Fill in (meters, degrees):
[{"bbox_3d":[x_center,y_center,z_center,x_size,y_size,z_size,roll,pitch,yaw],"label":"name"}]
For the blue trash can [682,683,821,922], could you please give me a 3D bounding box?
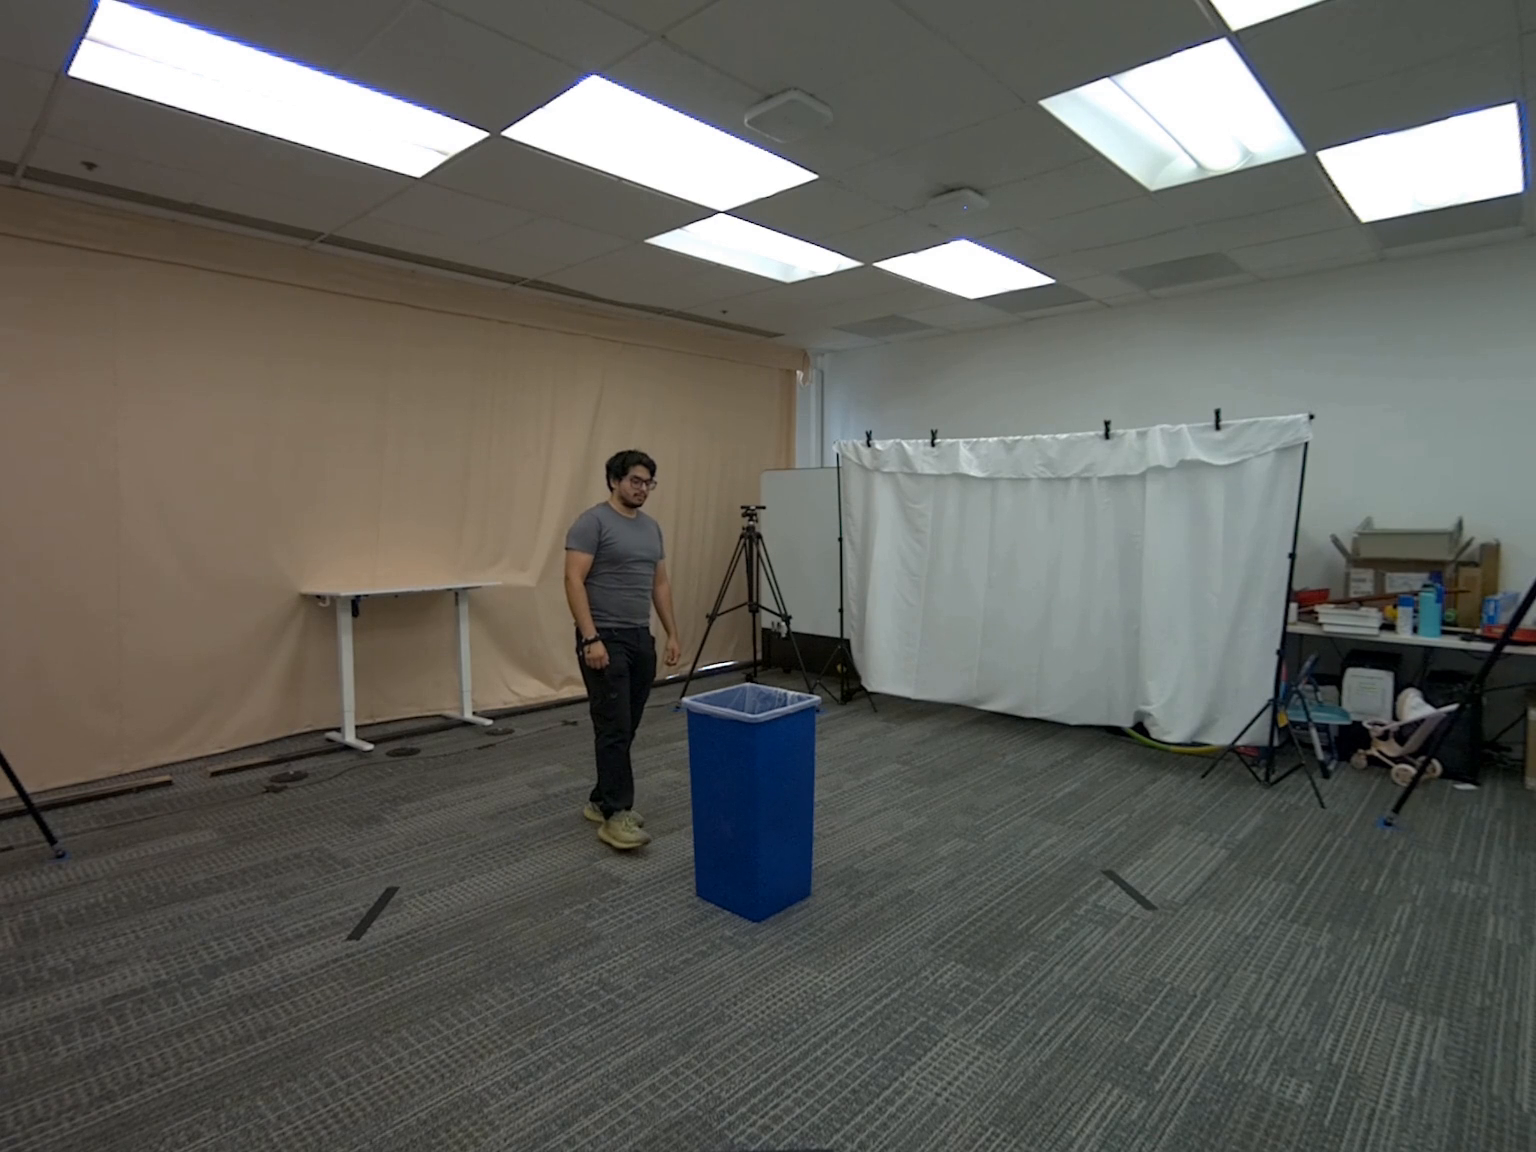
[{"bbox_3d":[-0.045,0.786,2.992,0.386,0.712,0.366,1,4,42],"label":"blue trash can"}]
